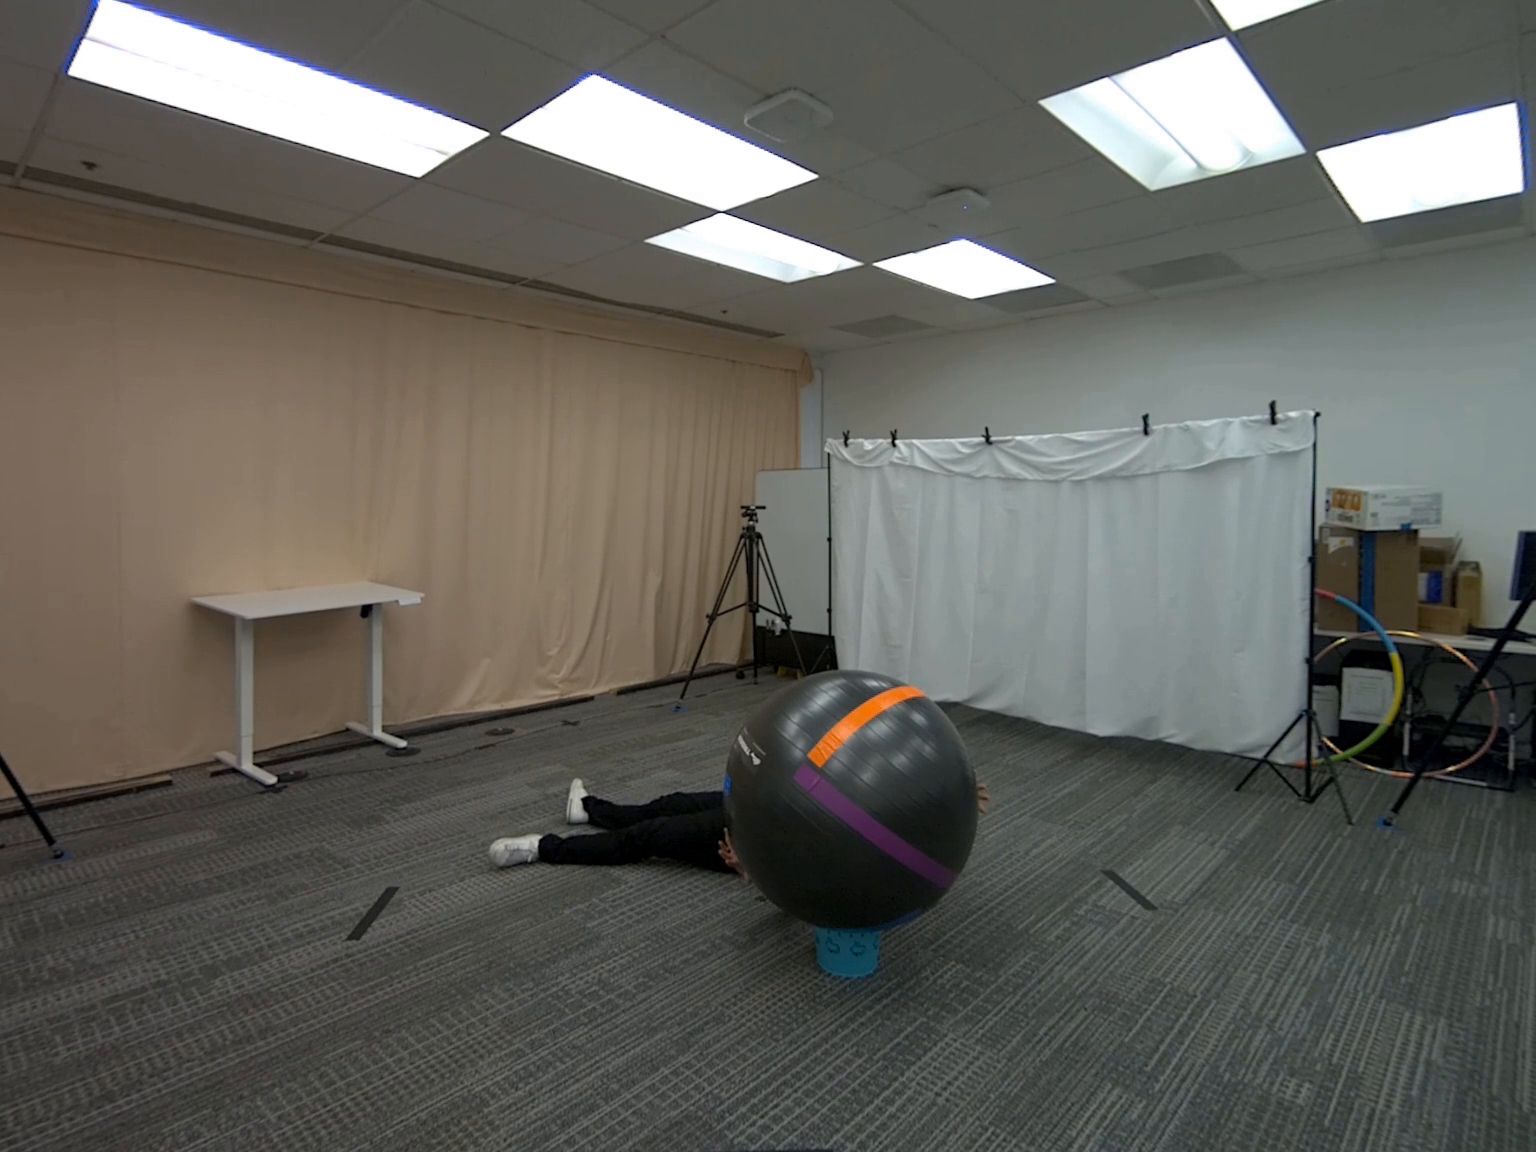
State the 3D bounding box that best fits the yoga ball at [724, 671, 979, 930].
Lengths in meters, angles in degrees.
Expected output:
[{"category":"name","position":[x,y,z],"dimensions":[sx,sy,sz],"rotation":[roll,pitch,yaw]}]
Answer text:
[{"category":"yoga ball","position":[0.244,0.669,2.548],"dimensions":[0.757,0.756,0.760],"rotation":[0,4,-2]}]
